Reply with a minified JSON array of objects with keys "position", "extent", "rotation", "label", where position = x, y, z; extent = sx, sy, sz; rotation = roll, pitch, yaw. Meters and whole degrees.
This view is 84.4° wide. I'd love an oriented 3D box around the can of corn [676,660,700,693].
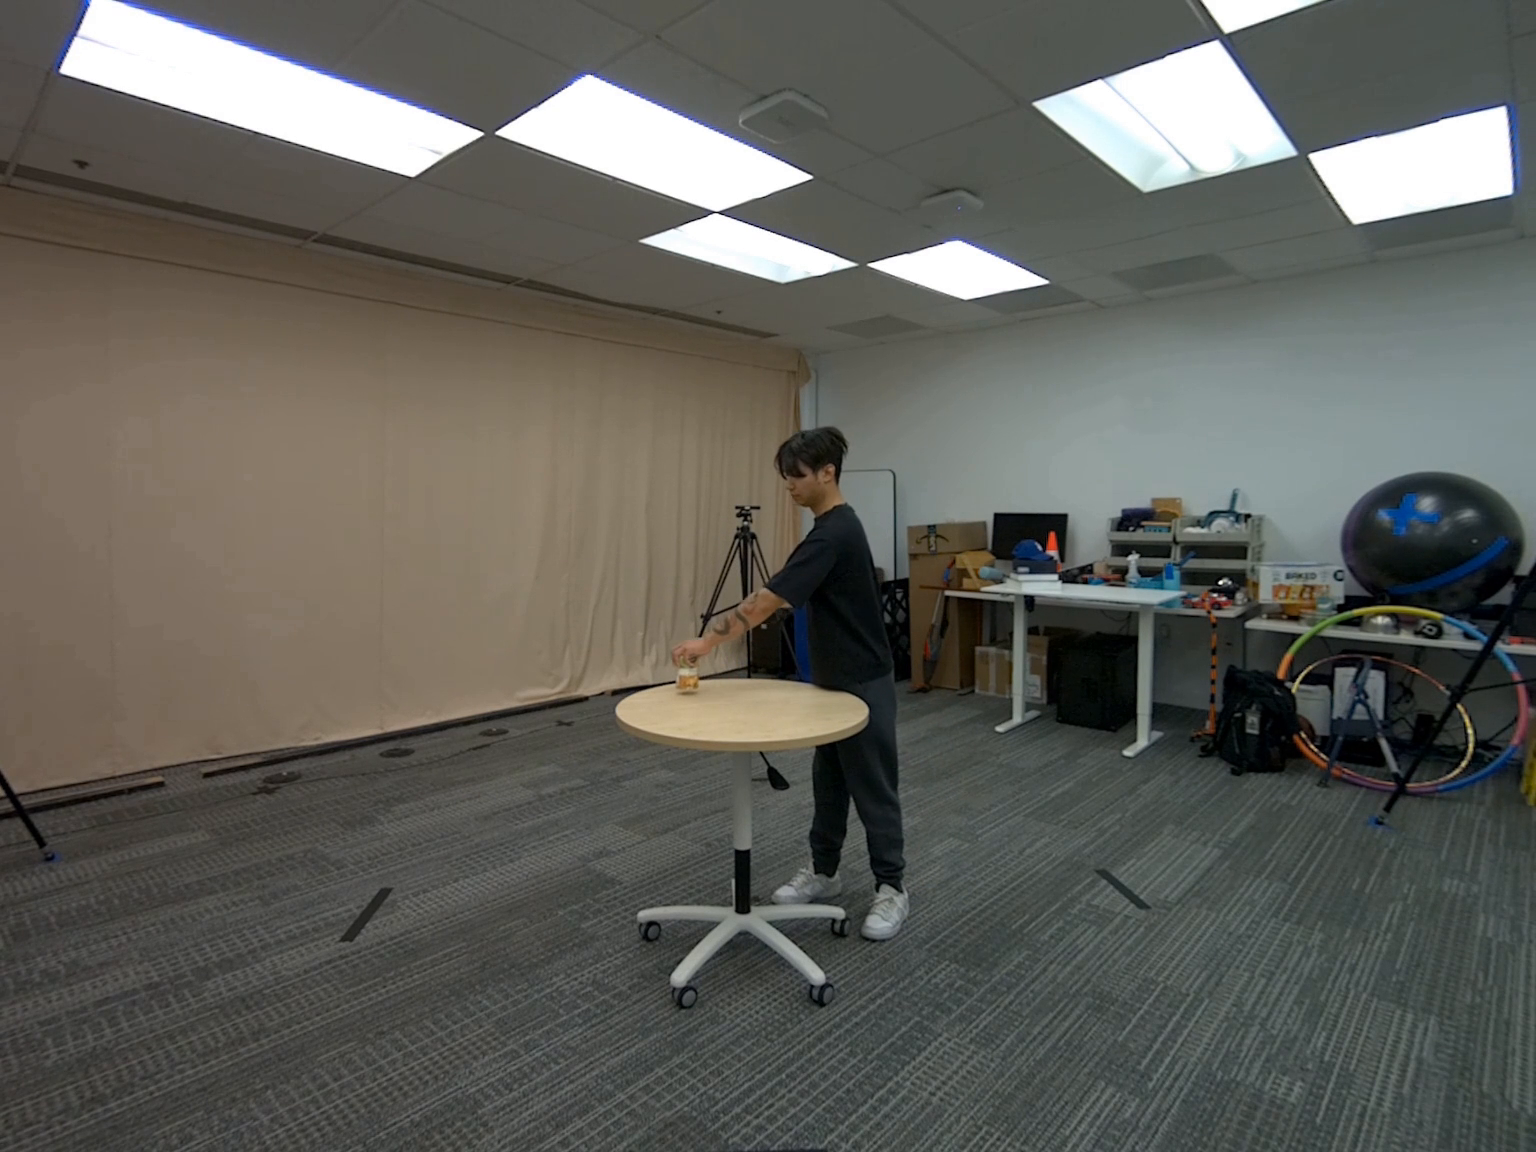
[{"position":[-0.257,0.312,2.734],"extent":[0.074,0.111,0.074],"rotation":[2,2,-2],"label":"can of corn"}]
